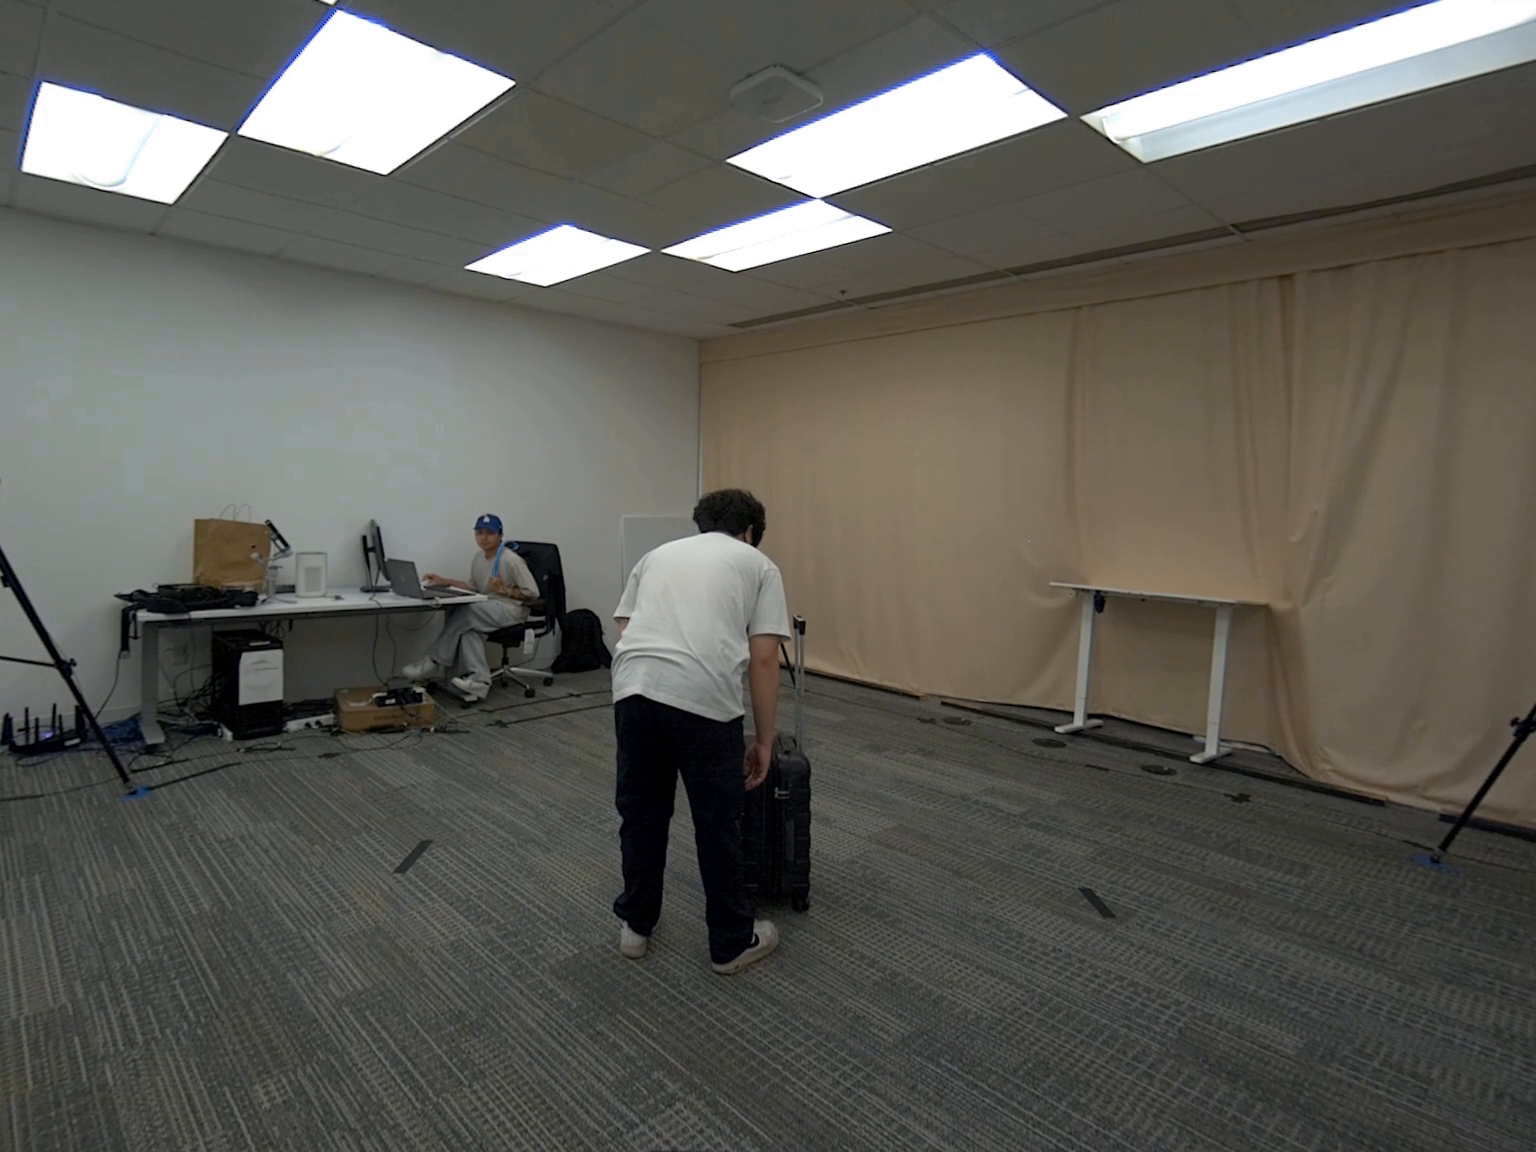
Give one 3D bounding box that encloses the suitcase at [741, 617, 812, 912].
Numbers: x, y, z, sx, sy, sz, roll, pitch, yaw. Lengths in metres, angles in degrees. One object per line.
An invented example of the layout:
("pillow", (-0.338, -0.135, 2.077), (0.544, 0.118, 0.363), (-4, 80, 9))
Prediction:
("suitcase", (0.007, 0.649, 2.948), (0.256, 0.976, 0.386), (-1, 3, -3))
